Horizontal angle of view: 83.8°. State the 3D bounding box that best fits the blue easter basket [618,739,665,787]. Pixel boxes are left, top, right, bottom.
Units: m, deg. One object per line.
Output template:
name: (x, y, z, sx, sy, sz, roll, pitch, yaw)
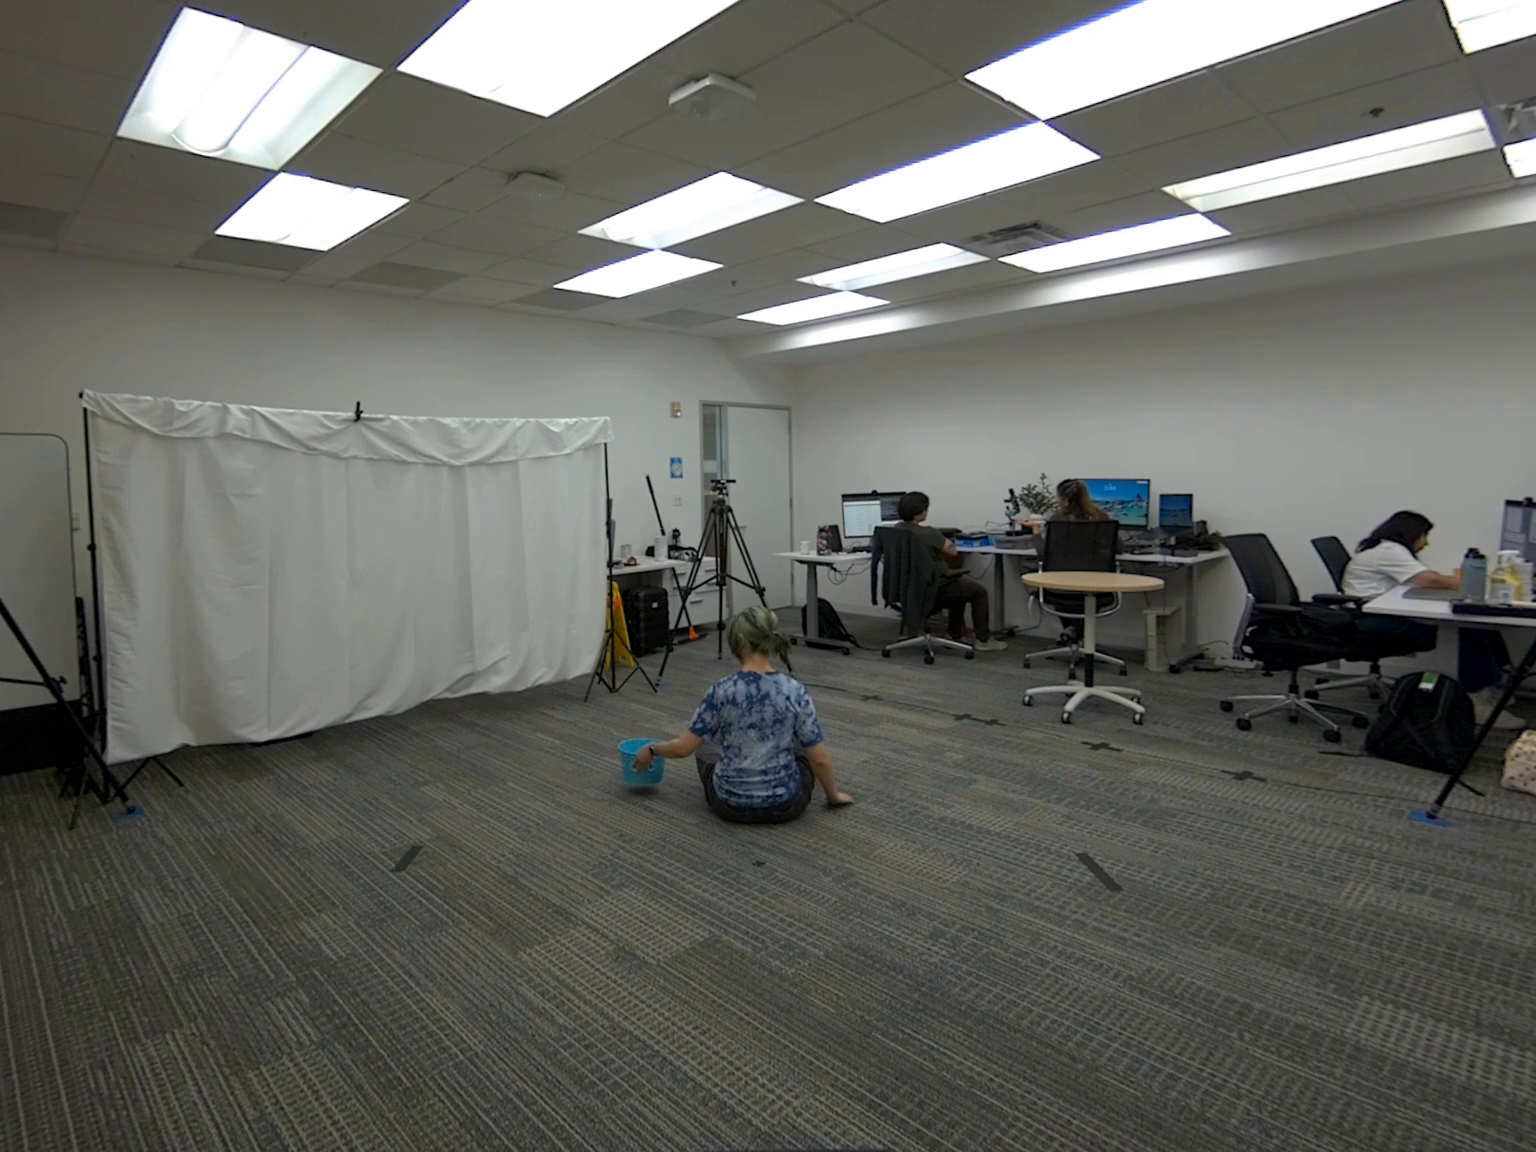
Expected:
blue easter basket: (-0.562, 0.840, 3.889, 0.243, 0.155, 0.245, 2, 7, -2)
